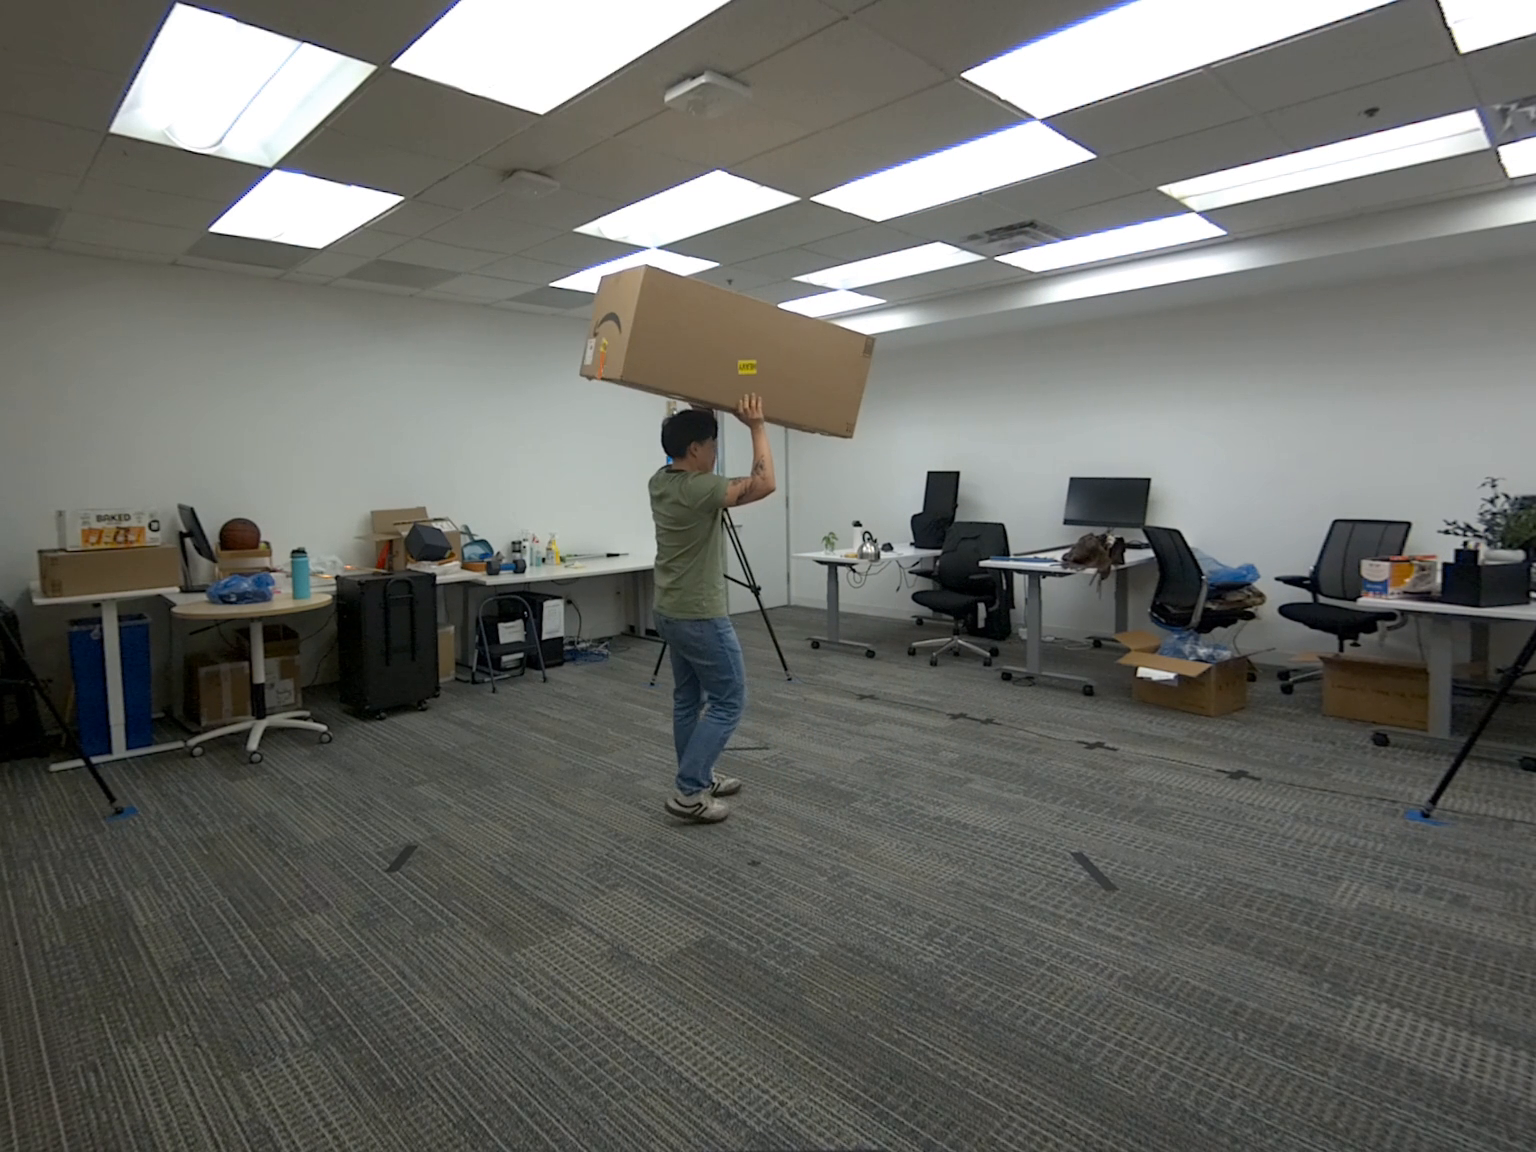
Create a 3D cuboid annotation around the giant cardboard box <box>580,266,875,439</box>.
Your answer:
[{"bbox_3d":[-0.173,-0.893,3.503,0.999,0.424,0.596,9,8,-27],"label":"giant cardboard box"}]
